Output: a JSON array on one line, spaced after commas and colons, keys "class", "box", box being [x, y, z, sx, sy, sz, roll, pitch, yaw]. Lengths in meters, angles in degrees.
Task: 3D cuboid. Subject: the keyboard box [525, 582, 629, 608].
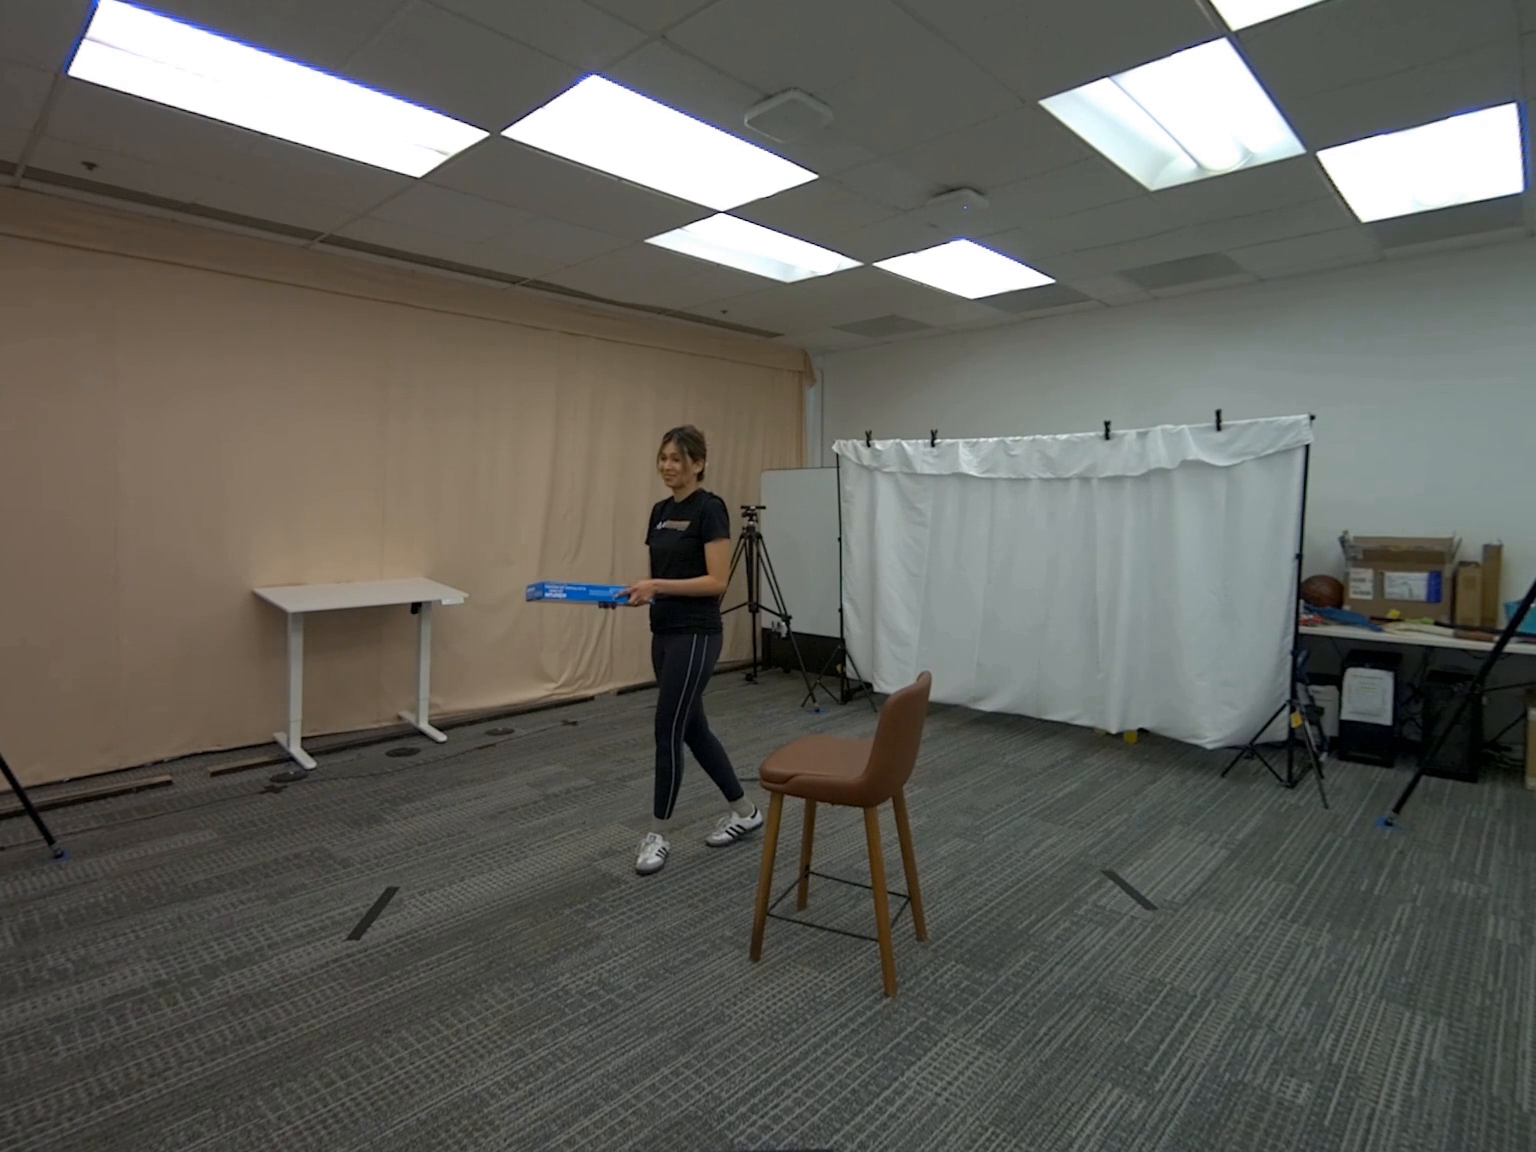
[{"class": "keyboard box", "box": [-0.651, 0.071, 3.092, 0.424, 0.059, 0.180, 5, -8, -33]}]
